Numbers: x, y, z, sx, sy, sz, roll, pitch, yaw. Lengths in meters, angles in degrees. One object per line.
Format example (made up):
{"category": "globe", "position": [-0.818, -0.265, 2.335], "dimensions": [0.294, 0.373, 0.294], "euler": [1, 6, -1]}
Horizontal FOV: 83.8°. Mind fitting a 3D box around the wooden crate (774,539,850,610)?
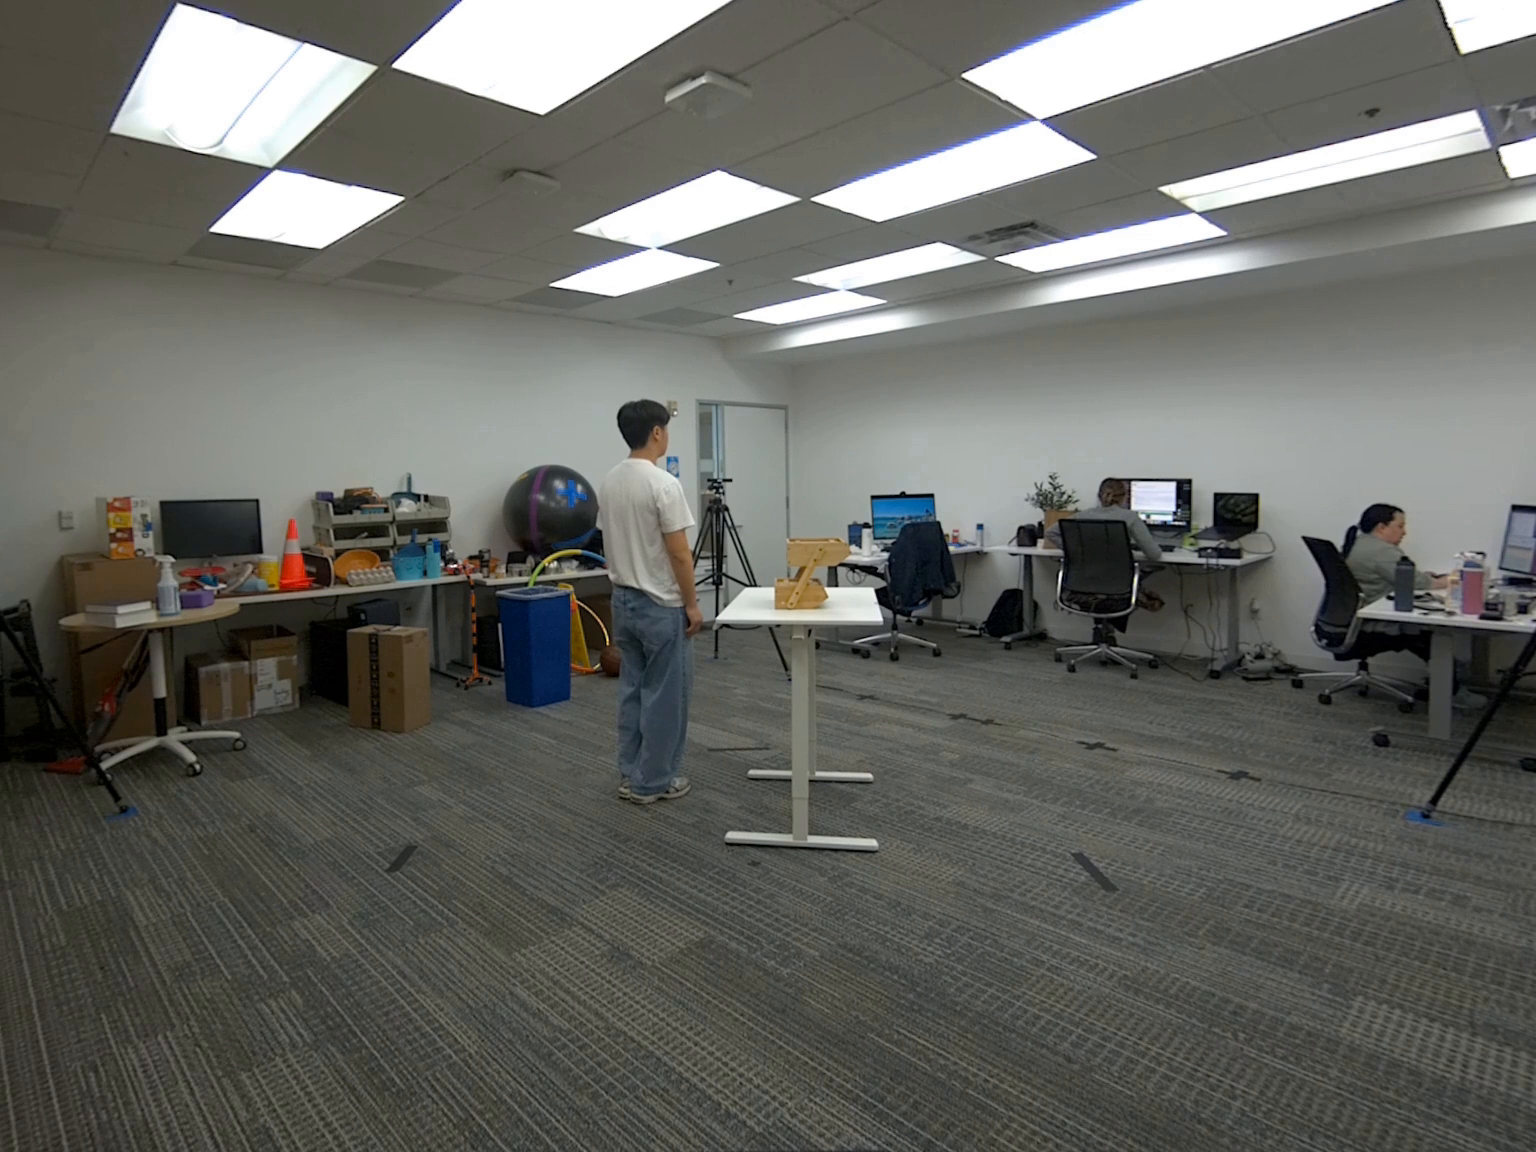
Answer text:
{"category": "wooden crate", "position": [0.182, -0.006, 3.473], "dimensions": [0.303, 0.273, 0.324], "euler": [-1, 3, 3]}
